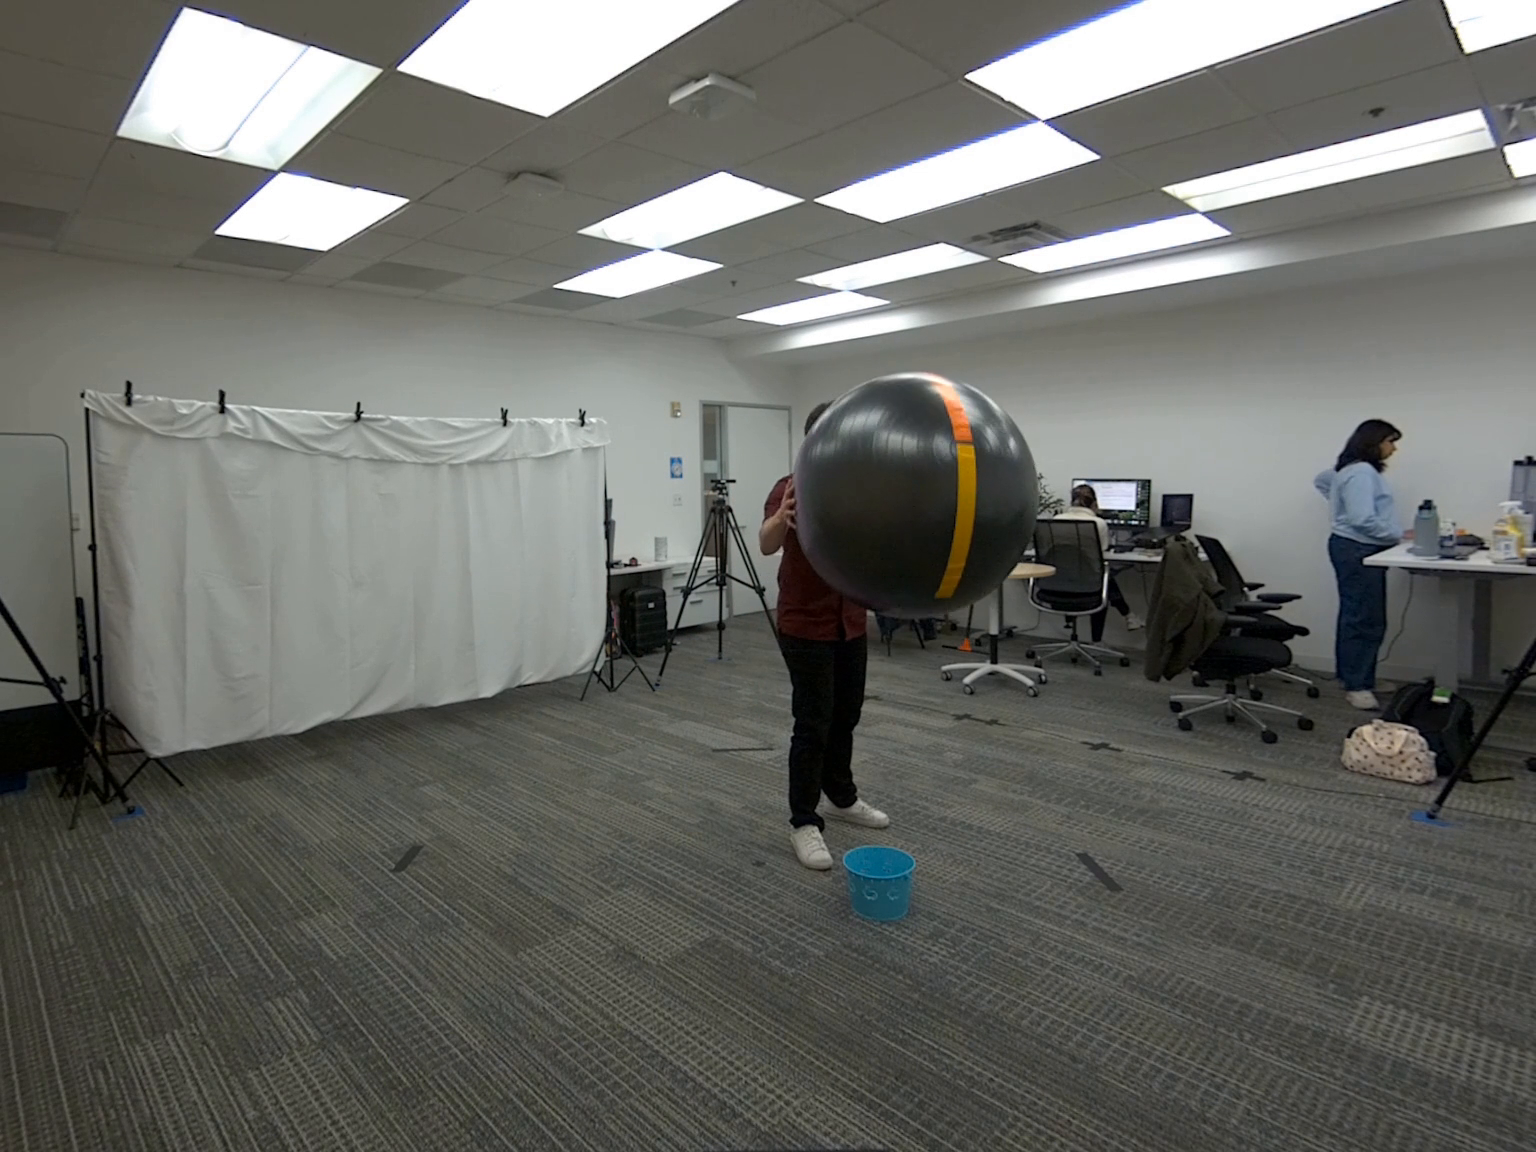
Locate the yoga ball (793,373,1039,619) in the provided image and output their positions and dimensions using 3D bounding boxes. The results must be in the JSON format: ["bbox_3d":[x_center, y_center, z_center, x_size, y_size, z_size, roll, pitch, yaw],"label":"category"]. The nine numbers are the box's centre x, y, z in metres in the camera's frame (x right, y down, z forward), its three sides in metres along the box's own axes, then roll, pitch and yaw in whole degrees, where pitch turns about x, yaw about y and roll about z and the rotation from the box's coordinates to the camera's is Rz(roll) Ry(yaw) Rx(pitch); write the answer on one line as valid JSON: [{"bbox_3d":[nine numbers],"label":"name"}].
[{"bbox_3d":[0.453,-0.245,2.672,0.757,0.755,0.762,-1,5,-2],"label":"yoga ball"}]
